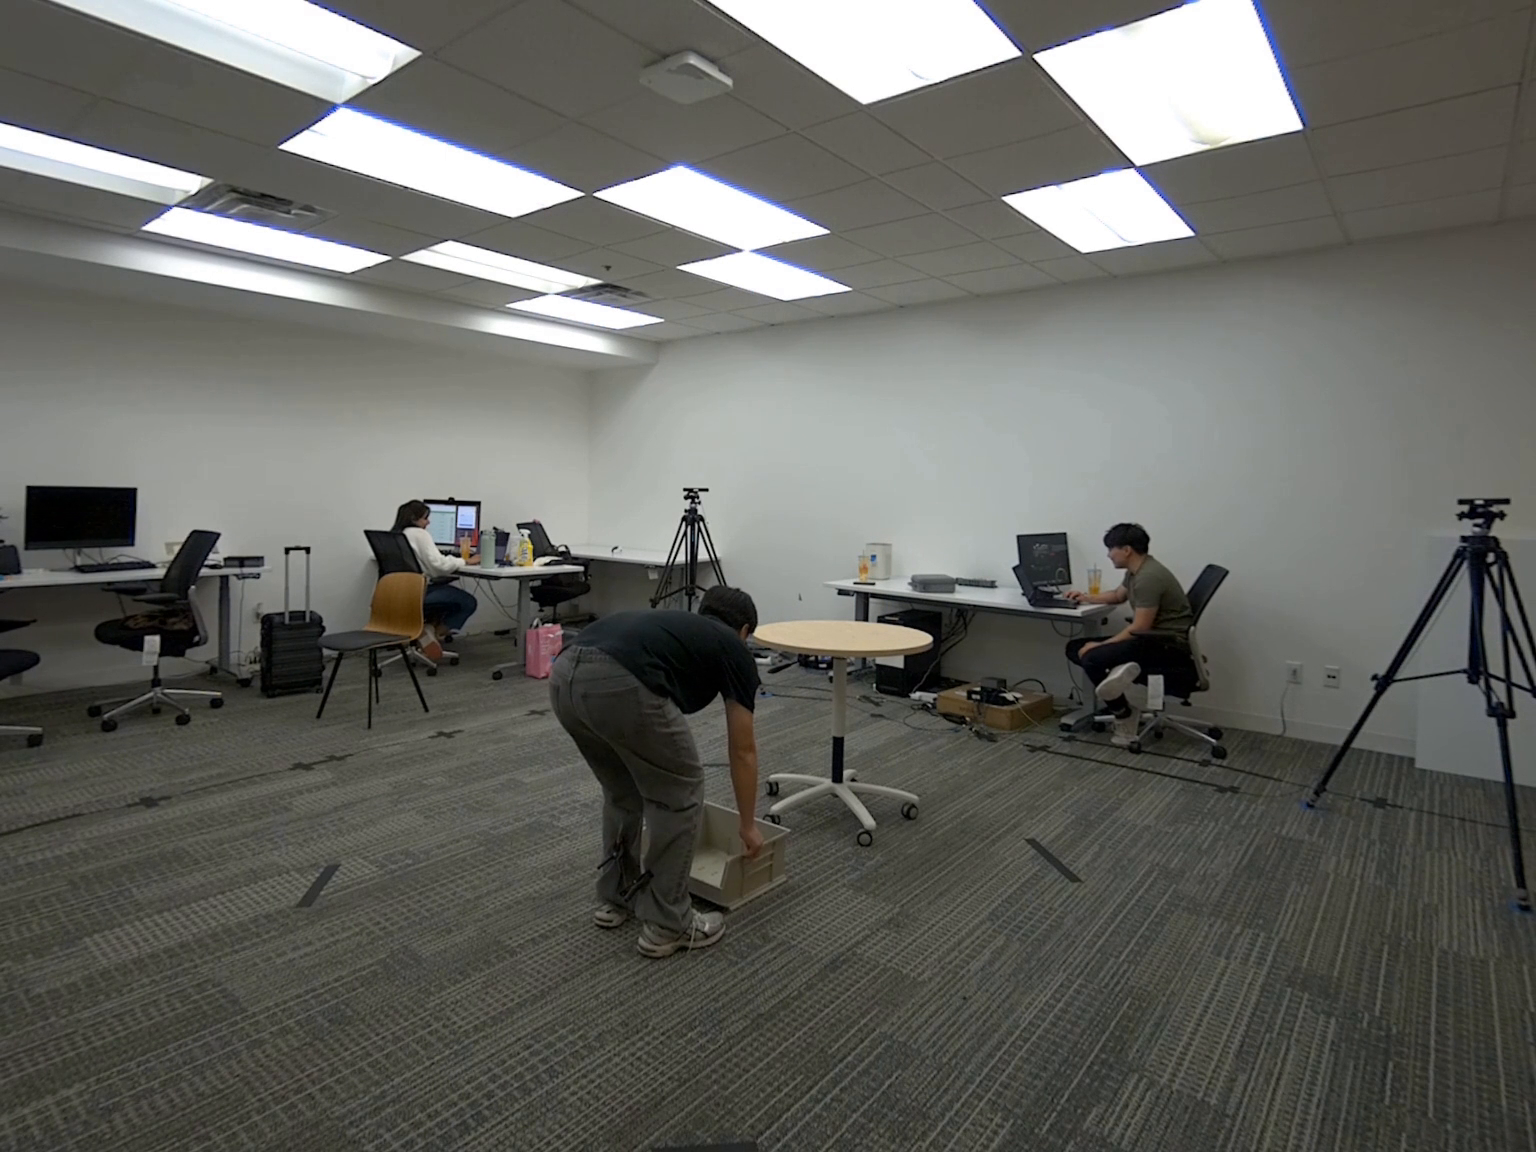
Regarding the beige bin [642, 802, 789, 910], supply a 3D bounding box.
[{"bbox_3d":[-0.208,0.983,3.032,0.436,0.188,0.366,4,5,38],"label":"beige bin"}]
